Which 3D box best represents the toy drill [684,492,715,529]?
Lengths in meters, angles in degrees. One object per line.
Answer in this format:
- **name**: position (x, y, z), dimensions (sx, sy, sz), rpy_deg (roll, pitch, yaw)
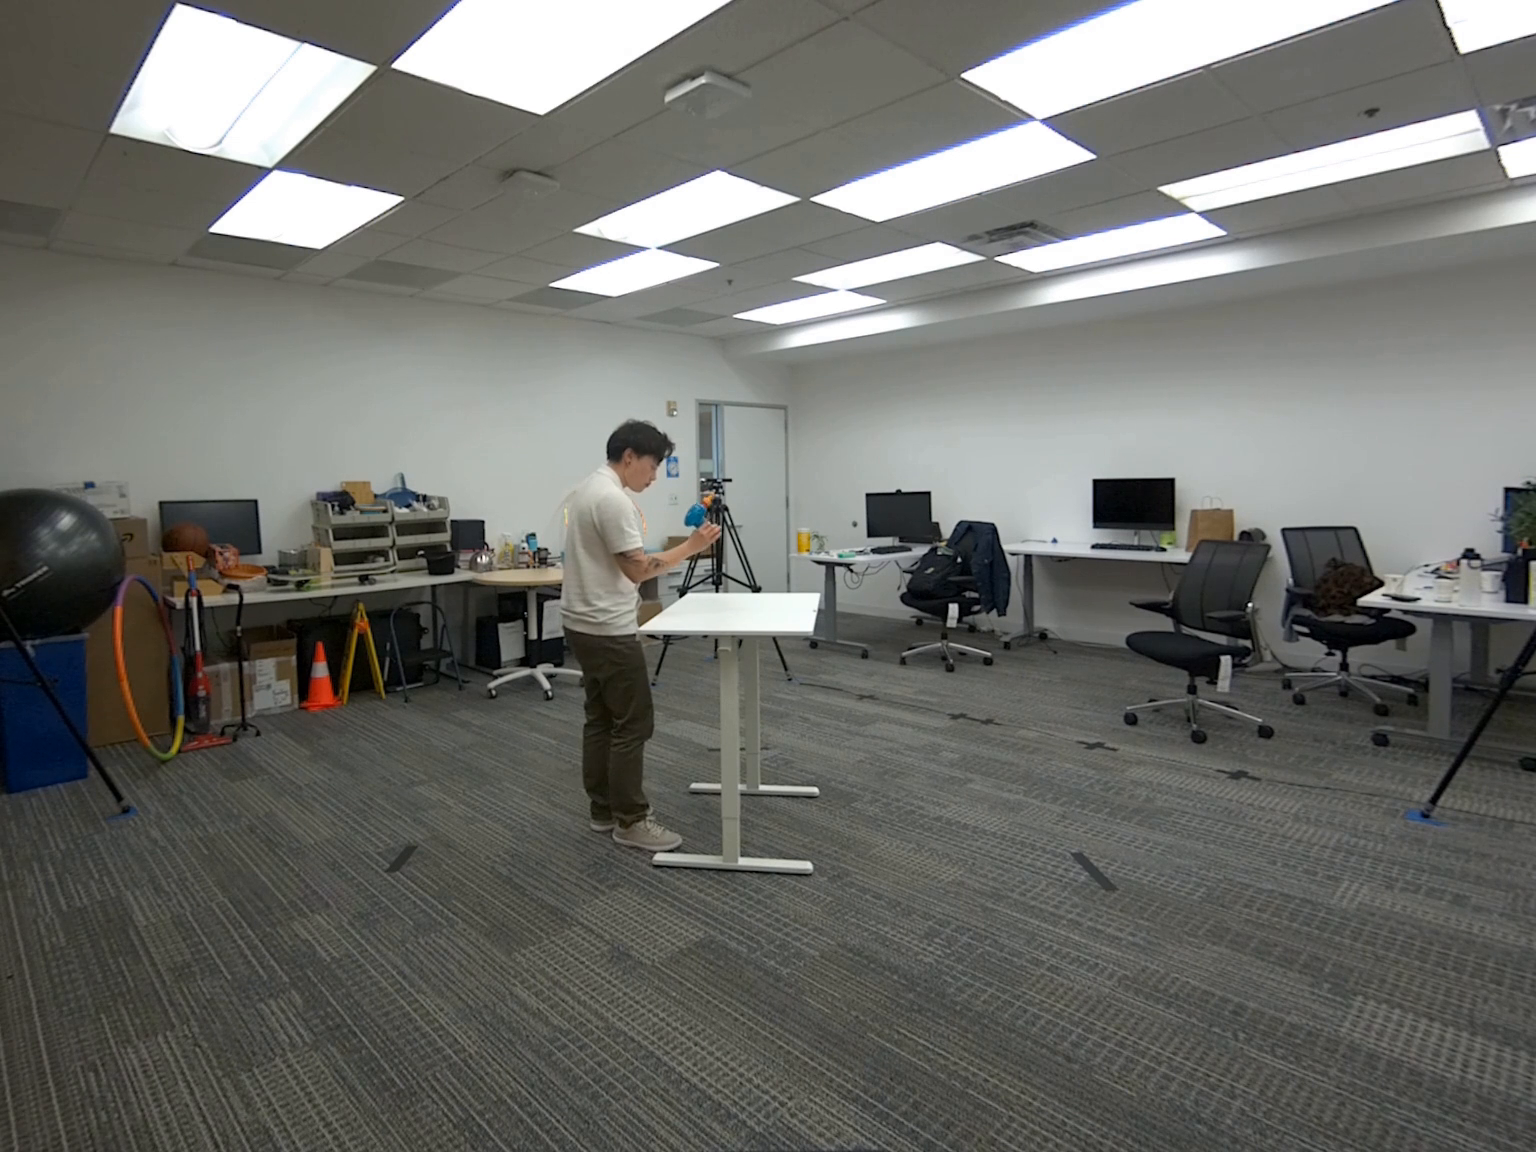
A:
- **toy drill**: position (-0.238, -0.224, 3.294), dimensions (0.142, 0.170, 0.062), rpy_deg (45, -17, -21)
